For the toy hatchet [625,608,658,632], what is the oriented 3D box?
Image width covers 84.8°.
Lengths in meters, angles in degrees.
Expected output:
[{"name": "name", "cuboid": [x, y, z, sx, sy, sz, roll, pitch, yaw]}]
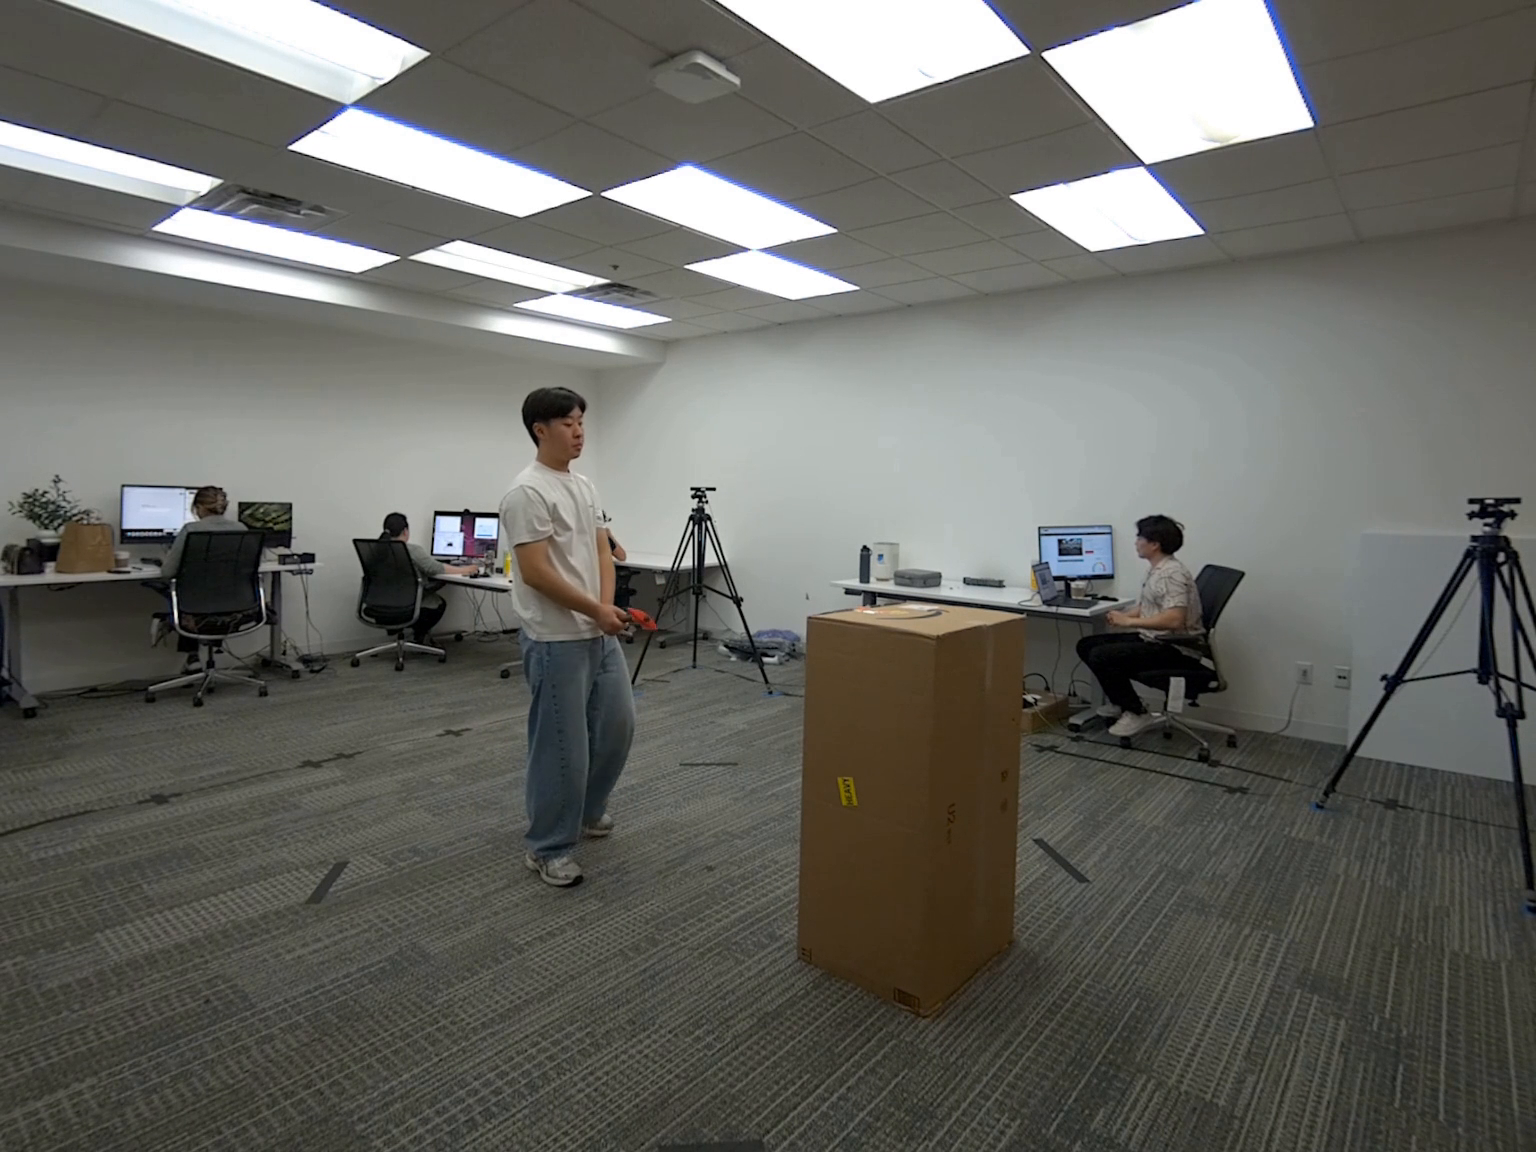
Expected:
[{"name": "toy hatchet", "cuboid": [-0.468, 0.153, 2.884, 0.129, 0.030, 0.272, 30, -22, -14]}]
